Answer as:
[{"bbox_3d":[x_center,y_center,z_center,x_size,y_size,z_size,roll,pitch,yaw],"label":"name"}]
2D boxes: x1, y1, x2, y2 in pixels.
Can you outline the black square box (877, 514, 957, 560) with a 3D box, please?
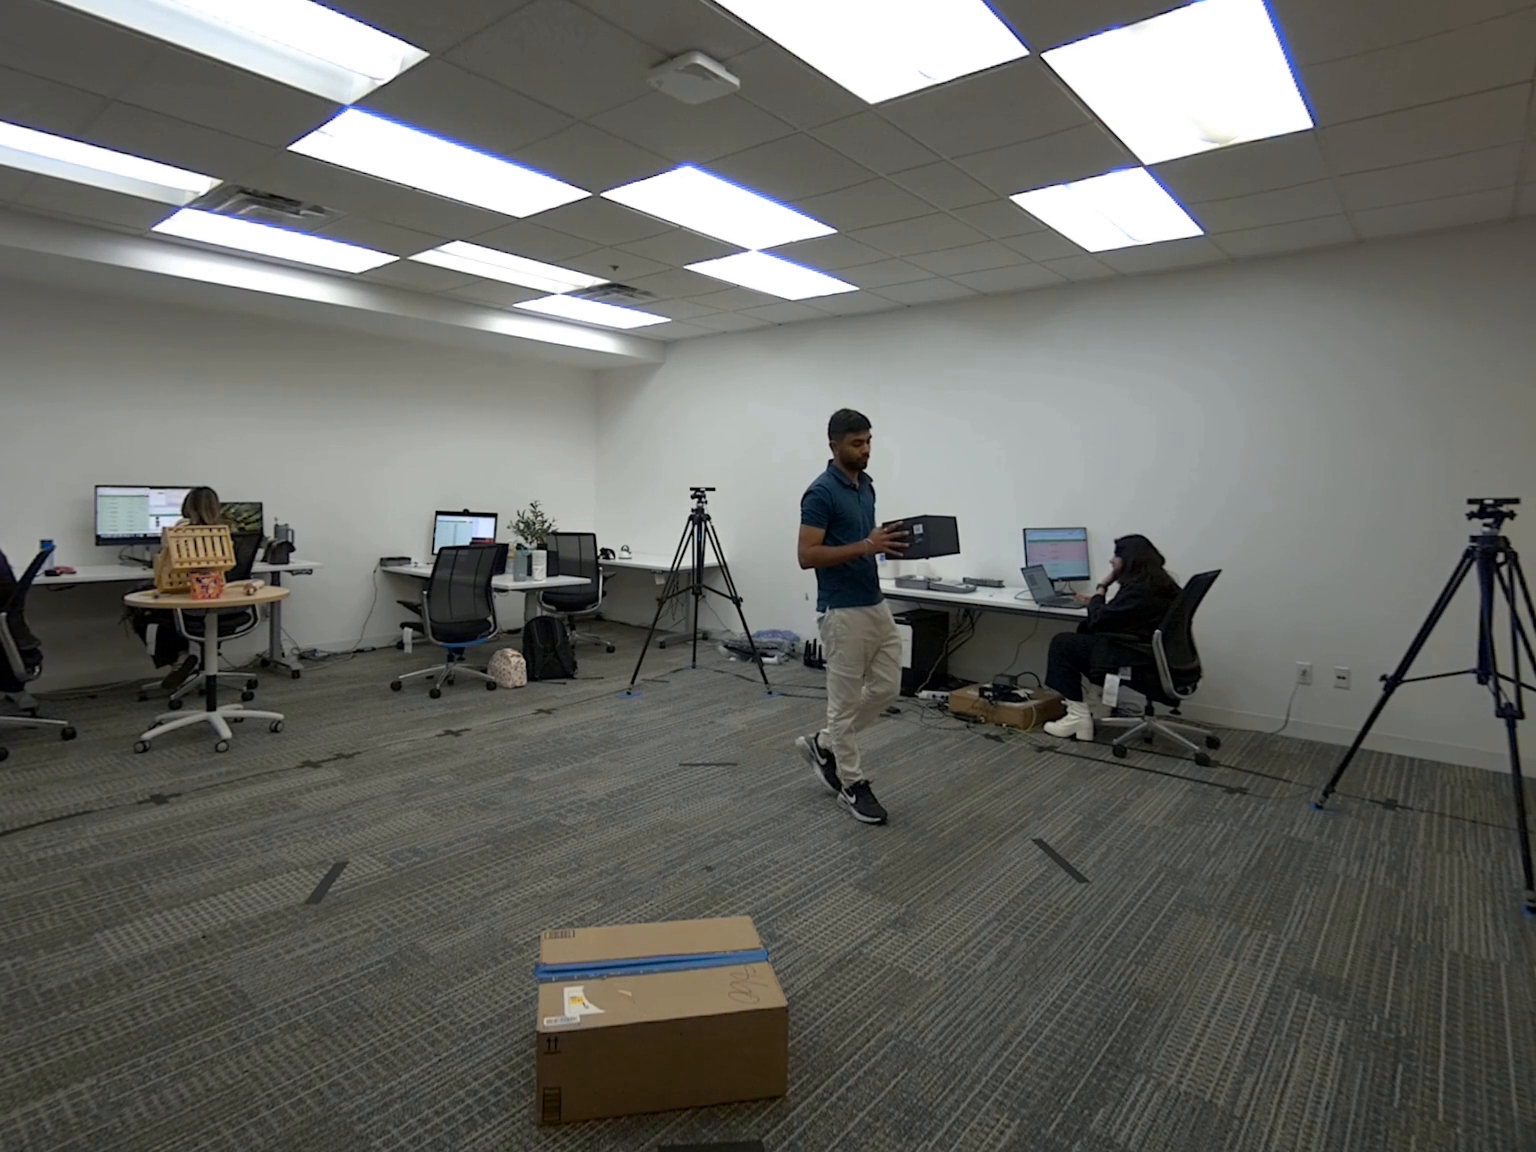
[{"bbox_3d":[0.613,-0.159,3.464,0.223,0.157,0.220,-7,-5,44],"label":"black square box"}]
